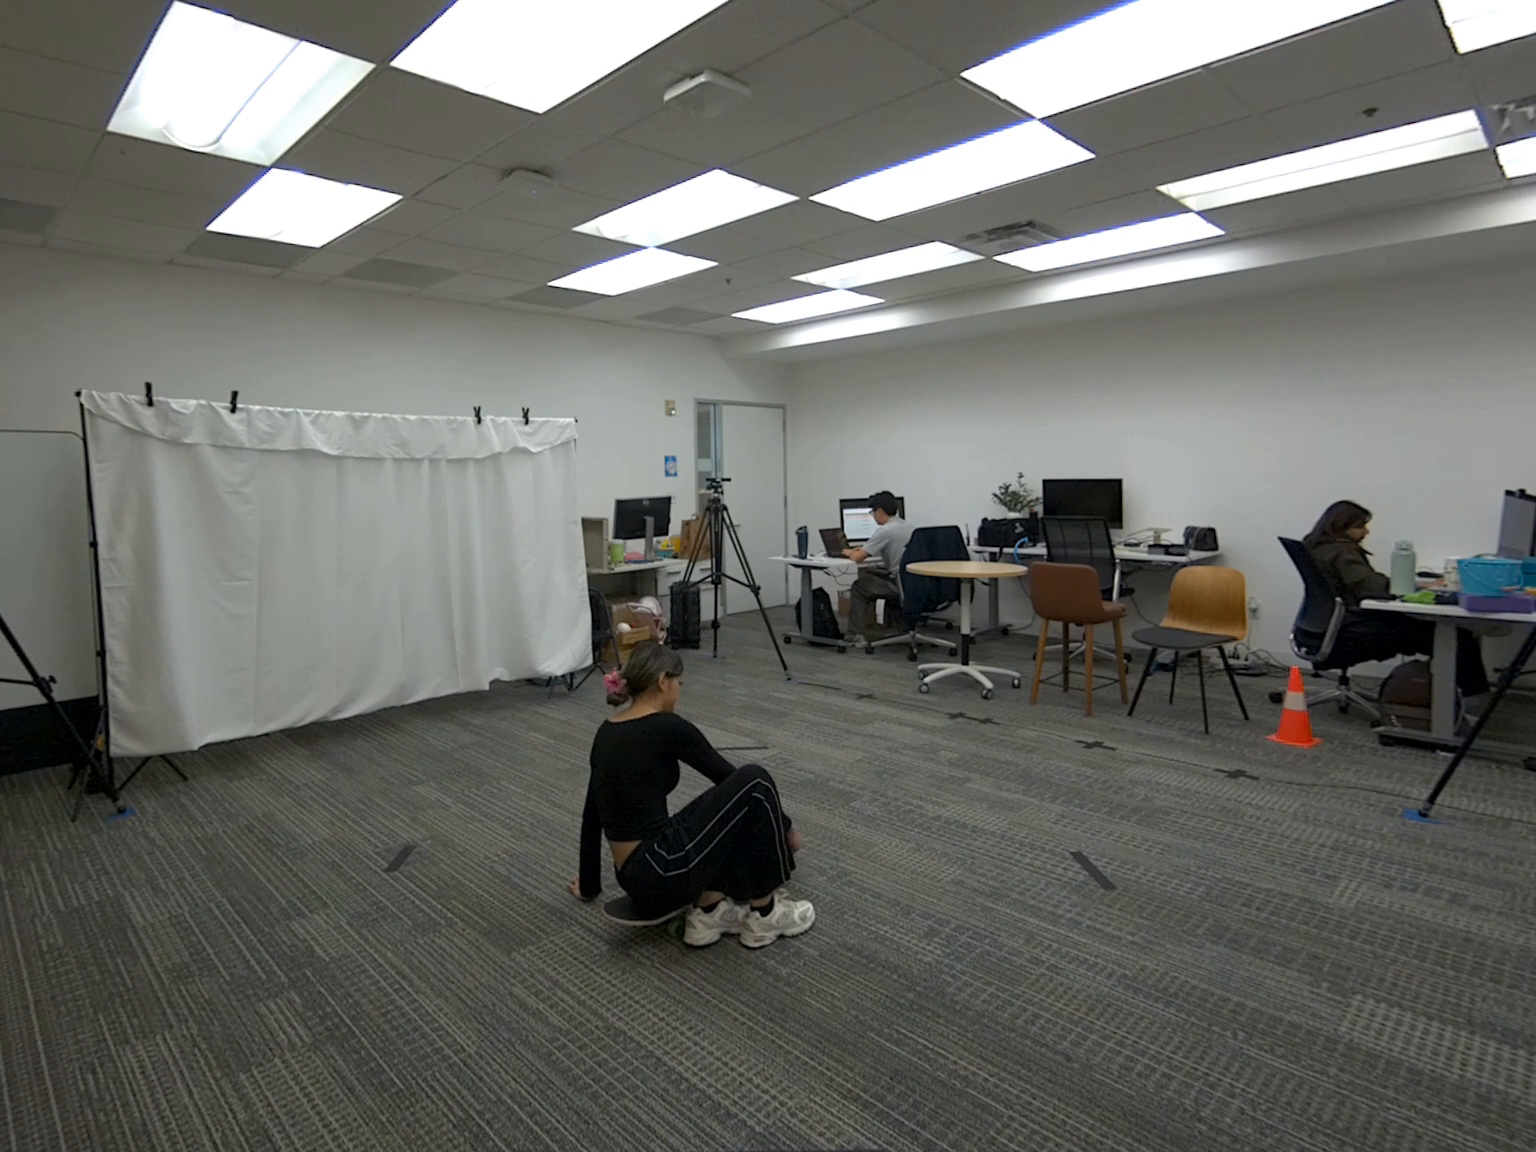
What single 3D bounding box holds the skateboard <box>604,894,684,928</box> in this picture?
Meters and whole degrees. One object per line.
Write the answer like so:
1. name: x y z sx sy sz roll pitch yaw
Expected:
1. skateboard: -0.191 1.026 2.804 0.765 0.110 0.199 -8 6 -44
